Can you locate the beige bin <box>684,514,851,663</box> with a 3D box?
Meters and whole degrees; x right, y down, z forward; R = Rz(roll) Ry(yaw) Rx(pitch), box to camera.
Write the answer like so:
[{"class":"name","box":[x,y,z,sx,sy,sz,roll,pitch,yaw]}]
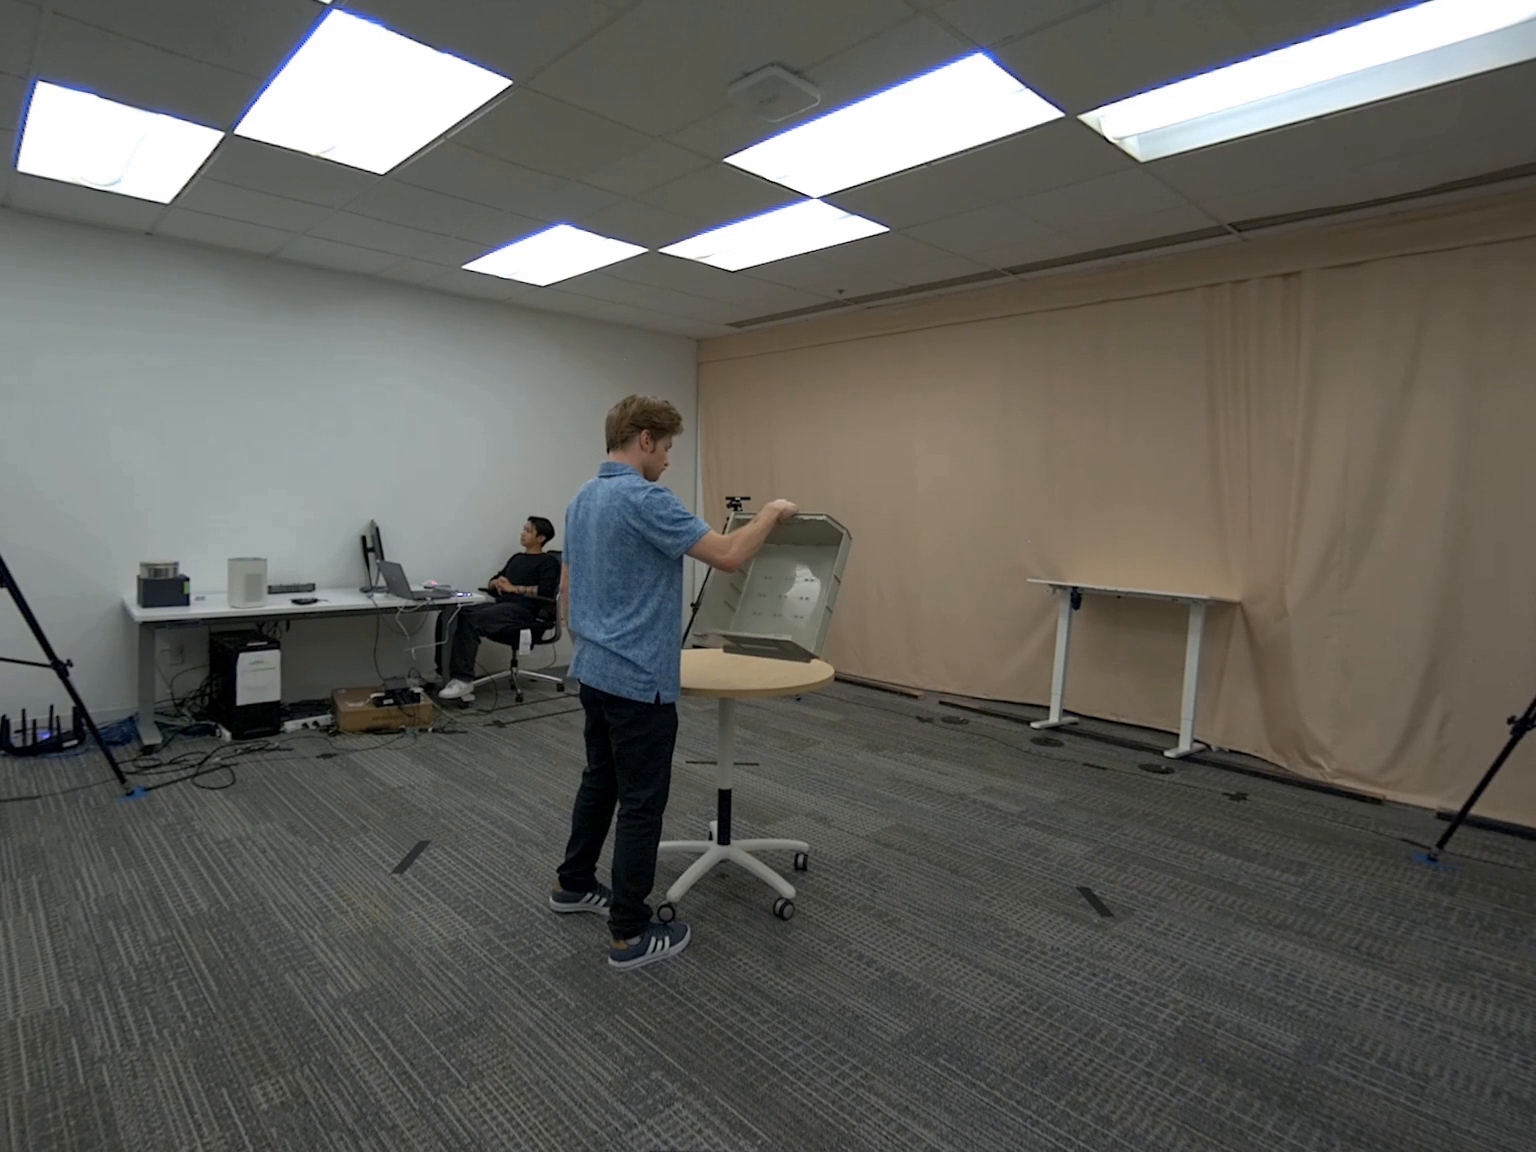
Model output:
[{"class":"beige bin","box":[0.013,0.027,2.590,0.386,0.426,0.183,2,-29,33]}]
